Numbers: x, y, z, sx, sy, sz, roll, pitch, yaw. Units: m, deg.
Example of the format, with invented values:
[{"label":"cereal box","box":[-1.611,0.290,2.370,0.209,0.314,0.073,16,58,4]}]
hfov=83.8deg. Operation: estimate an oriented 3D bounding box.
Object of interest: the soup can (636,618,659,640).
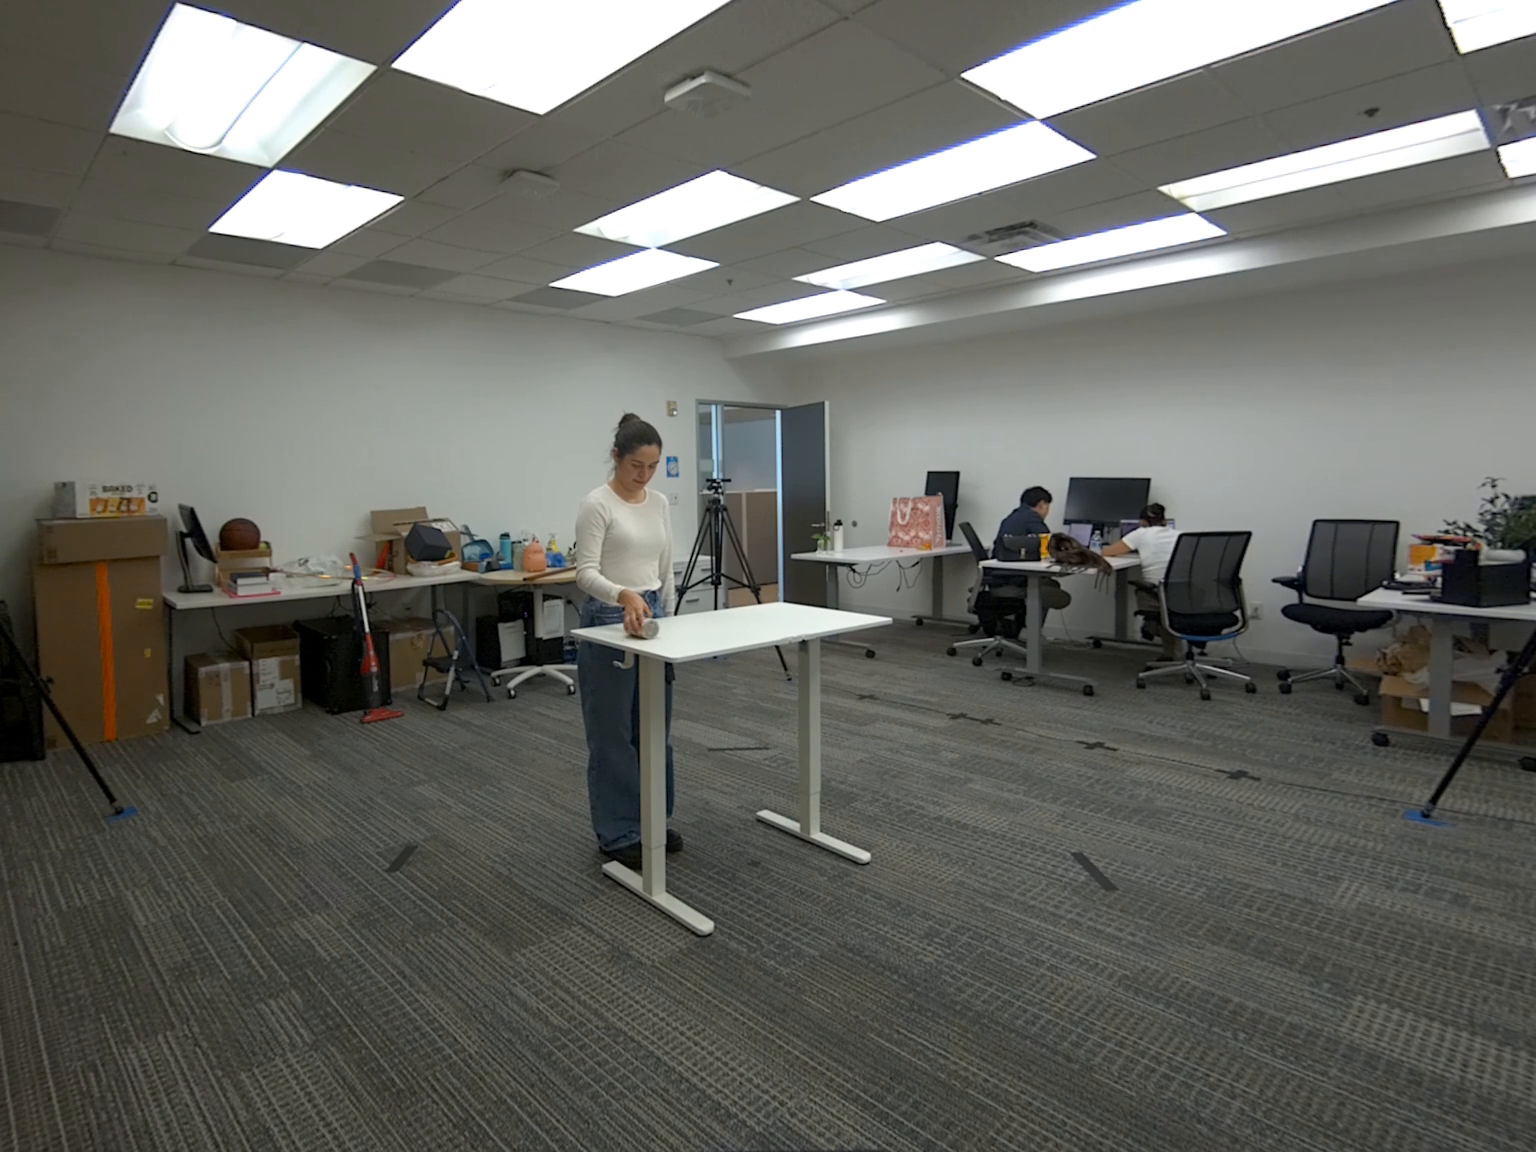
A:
[{"label":"soup can","box":[-0.413,0.170,2.799,0.067,0.067,0.122,-1,2,-7]}]
